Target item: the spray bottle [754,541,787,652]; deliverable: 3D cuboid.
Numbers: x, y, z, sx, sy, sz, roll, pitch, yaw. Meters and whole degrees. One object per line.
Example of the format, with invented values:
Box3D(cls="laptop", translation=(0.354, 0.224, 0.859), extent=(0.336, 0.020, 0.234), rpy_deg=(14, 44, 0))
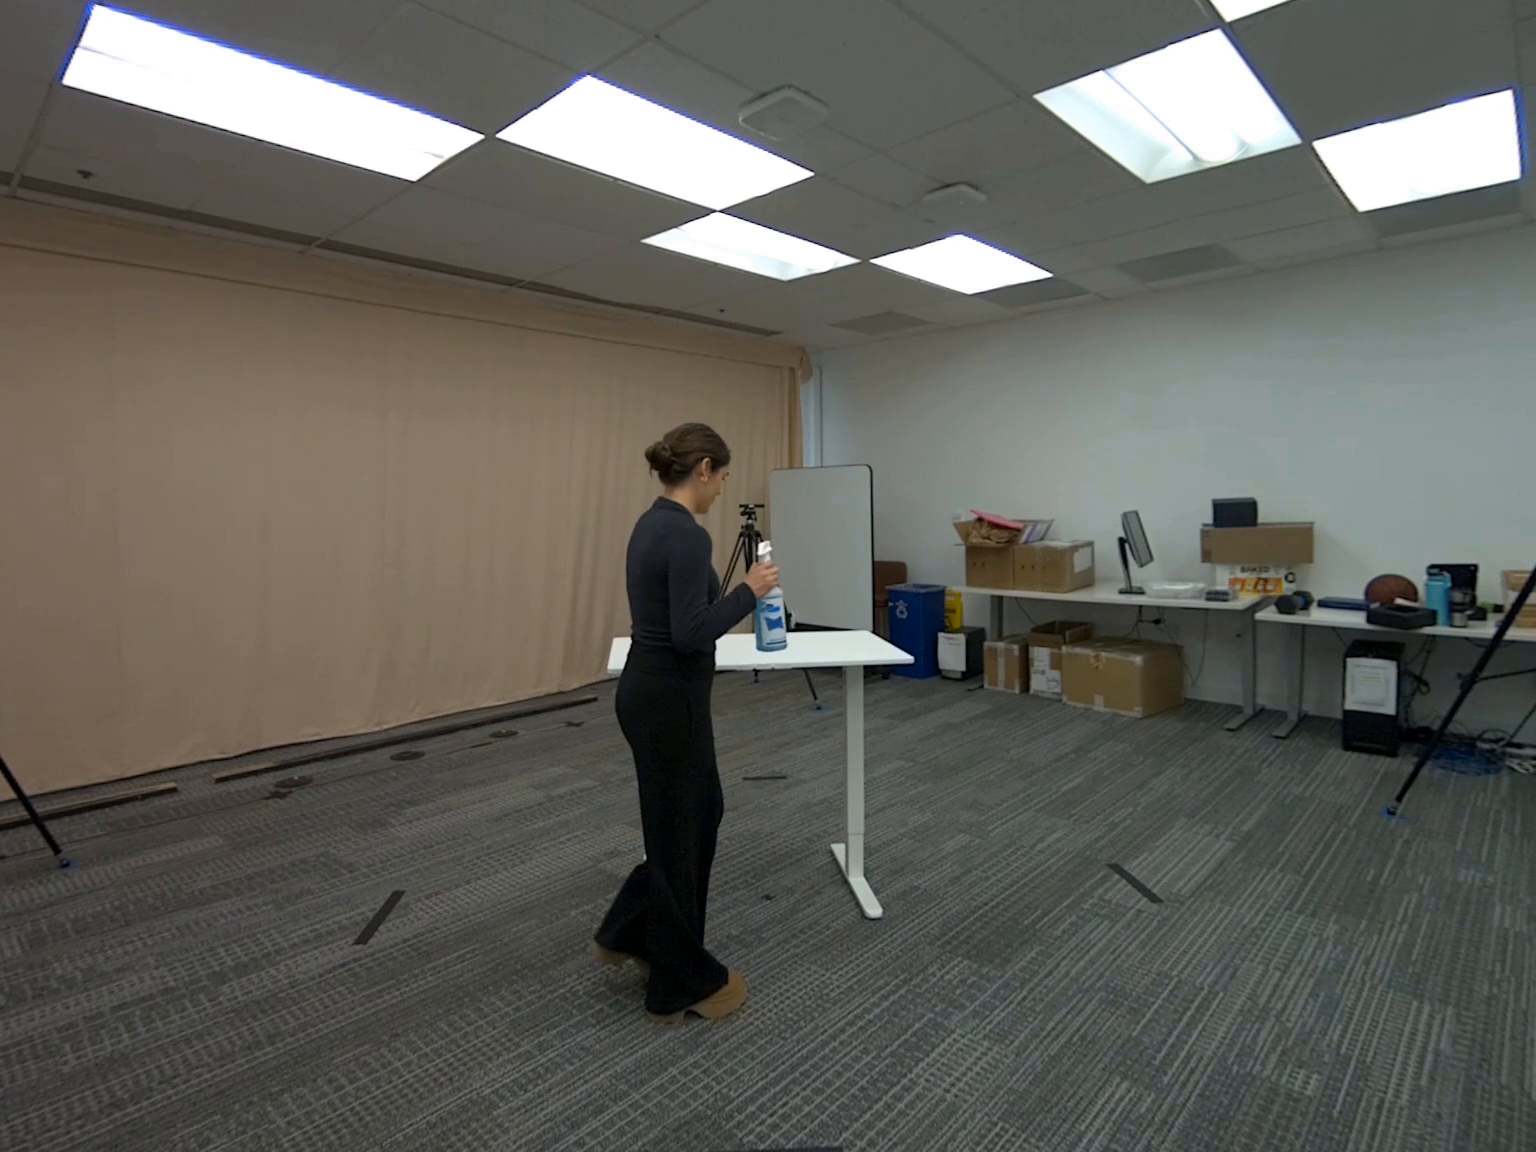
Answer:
Box3D(cls="spray bottle", translation=(0.002, 0.060, 2.304), extent=(0.090, 0.296, 0.087), rpy_deg=(-1, 4, 42))
